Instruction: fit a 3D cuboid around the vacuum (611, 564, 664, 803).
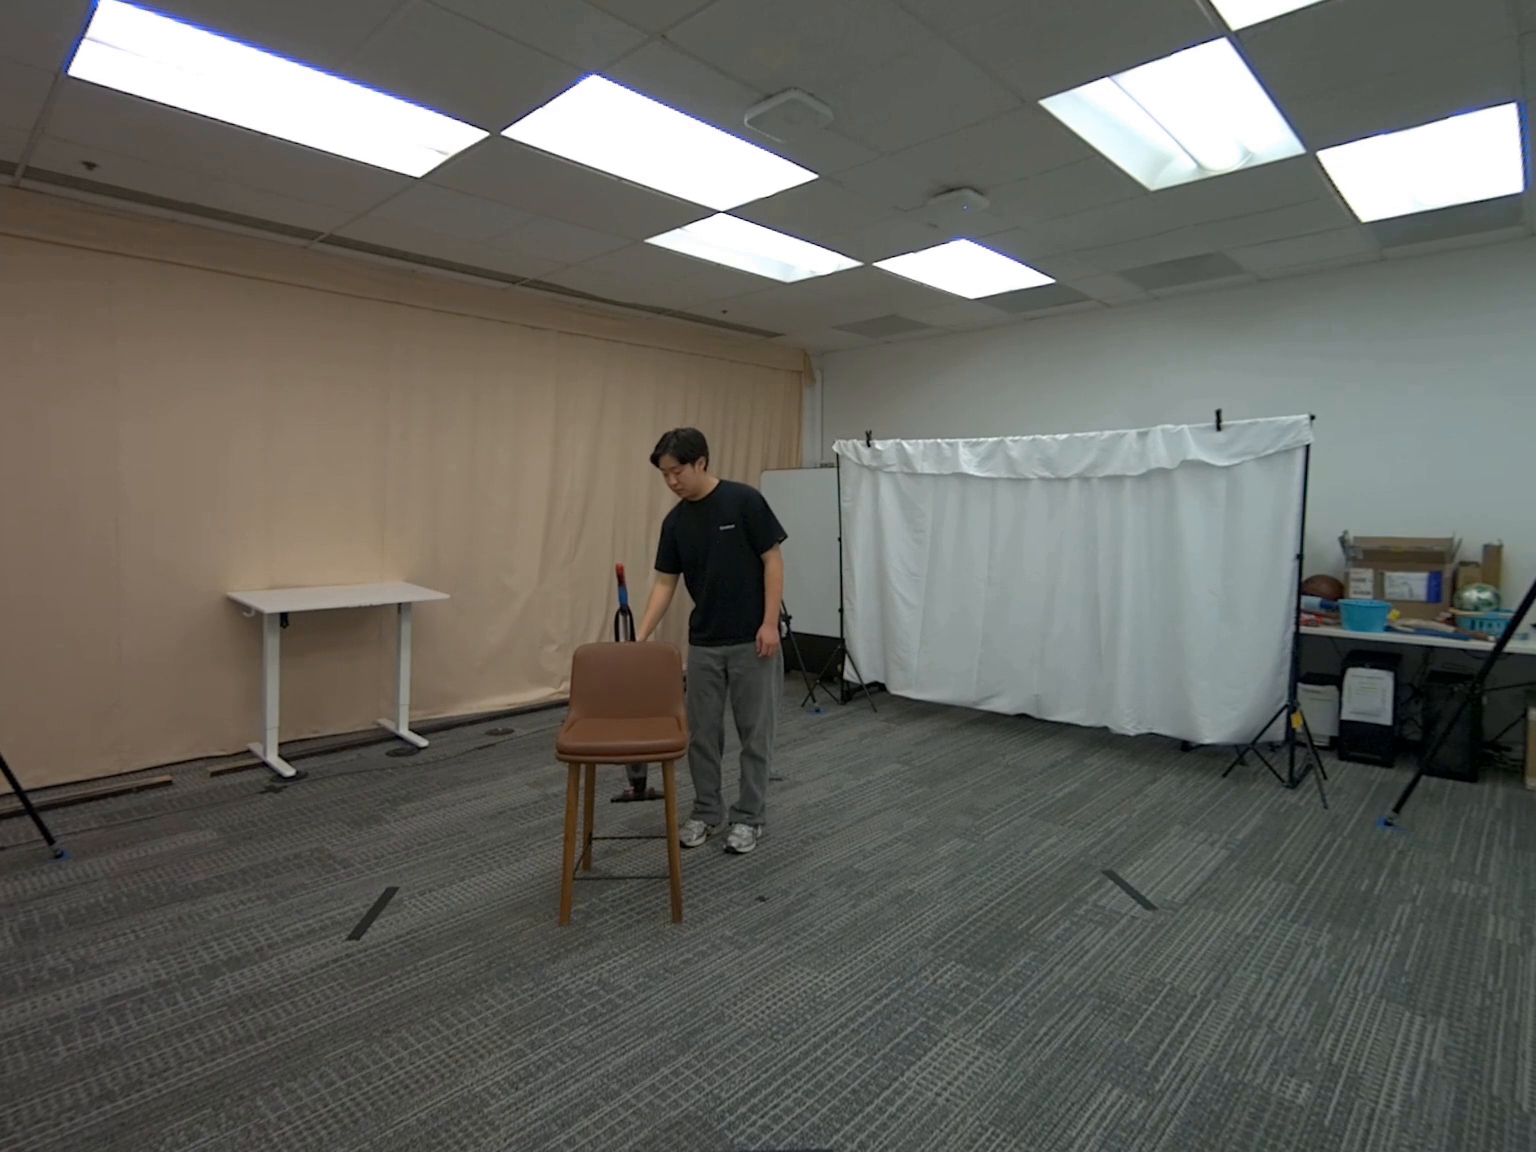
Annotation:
[{"bbox_3d":[-0.561,0.445,3.414,0.249,1.037,0.147,-5,18,-14],"label":"vacuum"}]
